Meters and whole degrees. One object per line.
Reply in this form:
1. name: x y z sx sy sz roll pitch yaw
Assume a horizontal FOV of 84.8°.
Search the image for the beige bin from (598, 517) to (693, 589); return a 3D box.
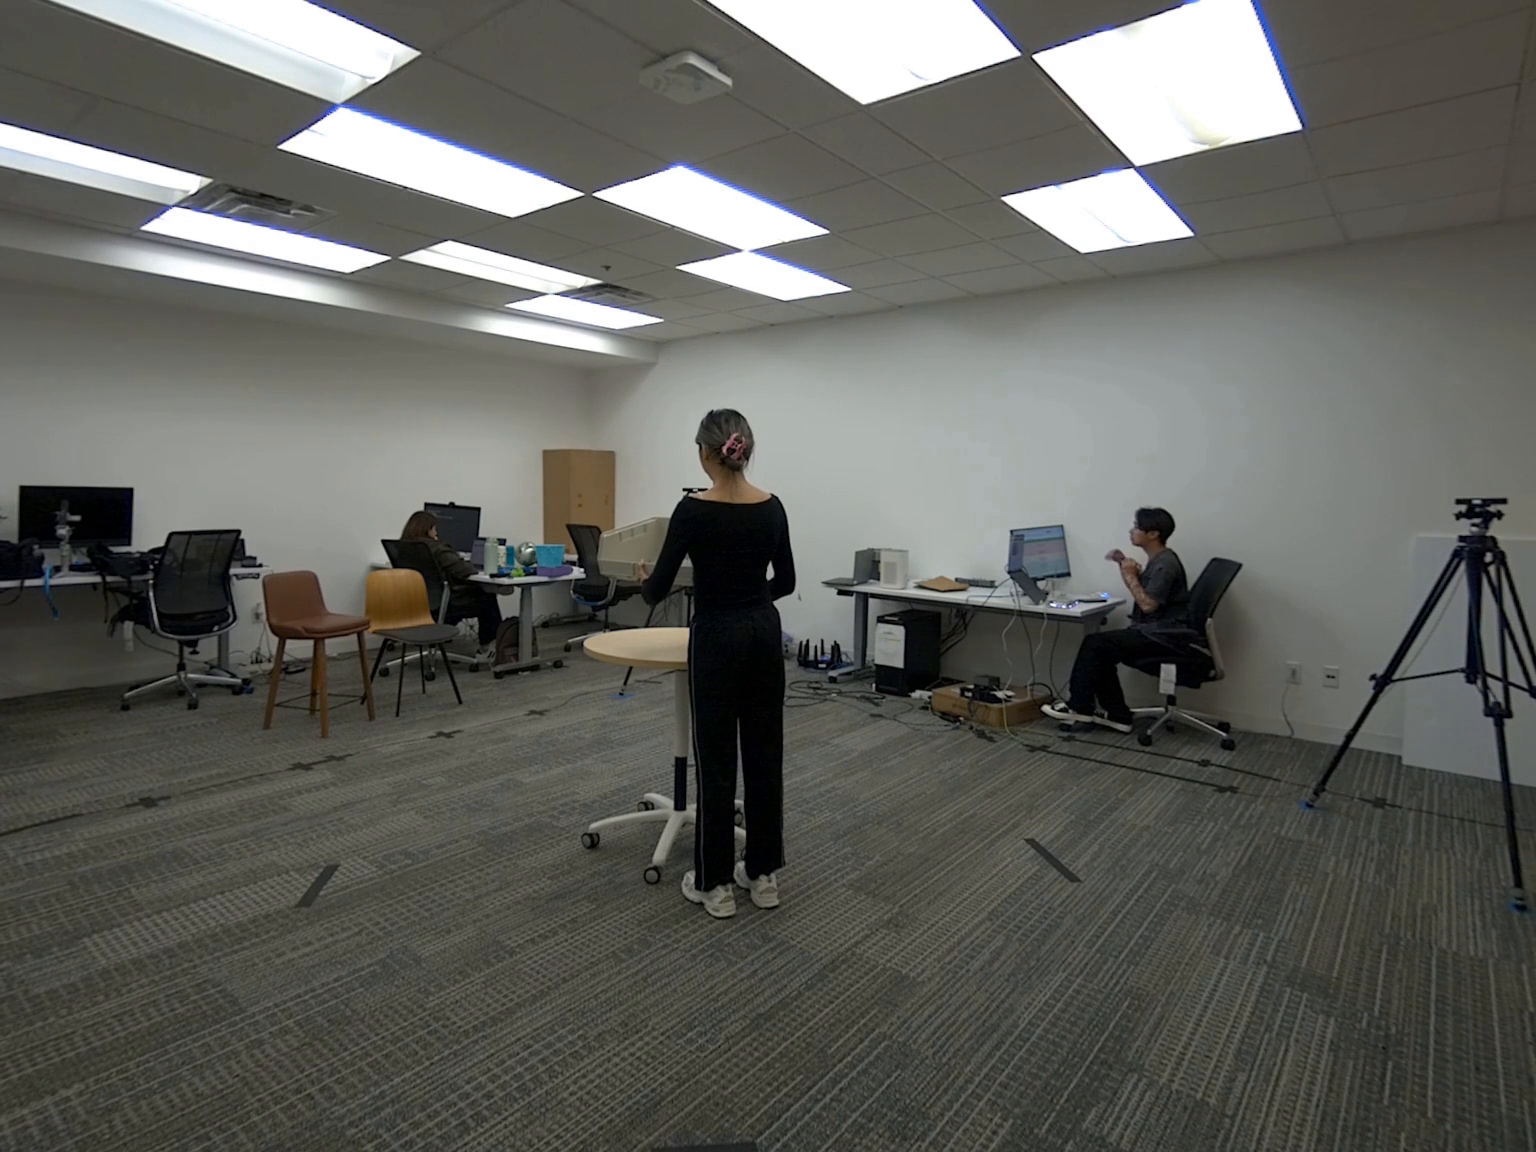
1. beige bin: -0.360 -0.091 3.139 0.435 0.187 0.371 3 15 31
